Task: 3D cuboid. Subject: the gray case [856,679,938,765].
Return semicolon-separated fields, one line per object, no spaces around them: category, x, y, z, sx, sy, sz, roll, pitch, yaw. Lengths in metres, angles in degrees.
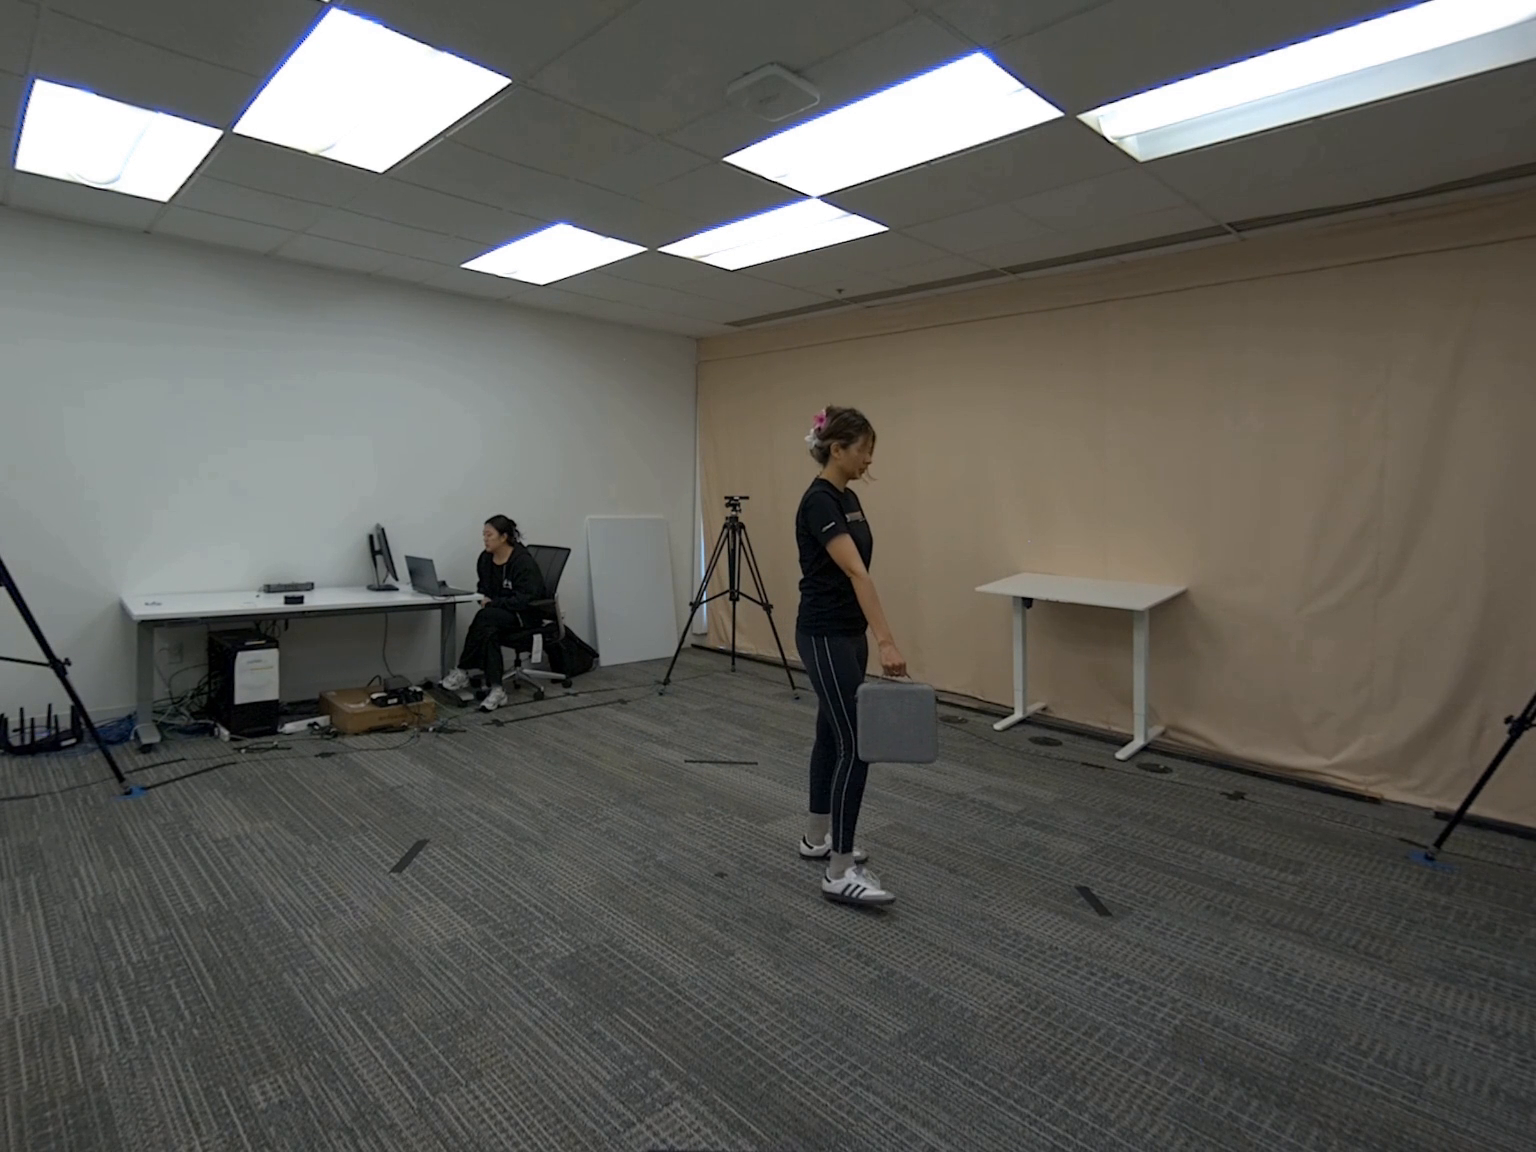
gray case;0.422;0.476;2.736;0.259;0.261;0.103;-2;-2;10
